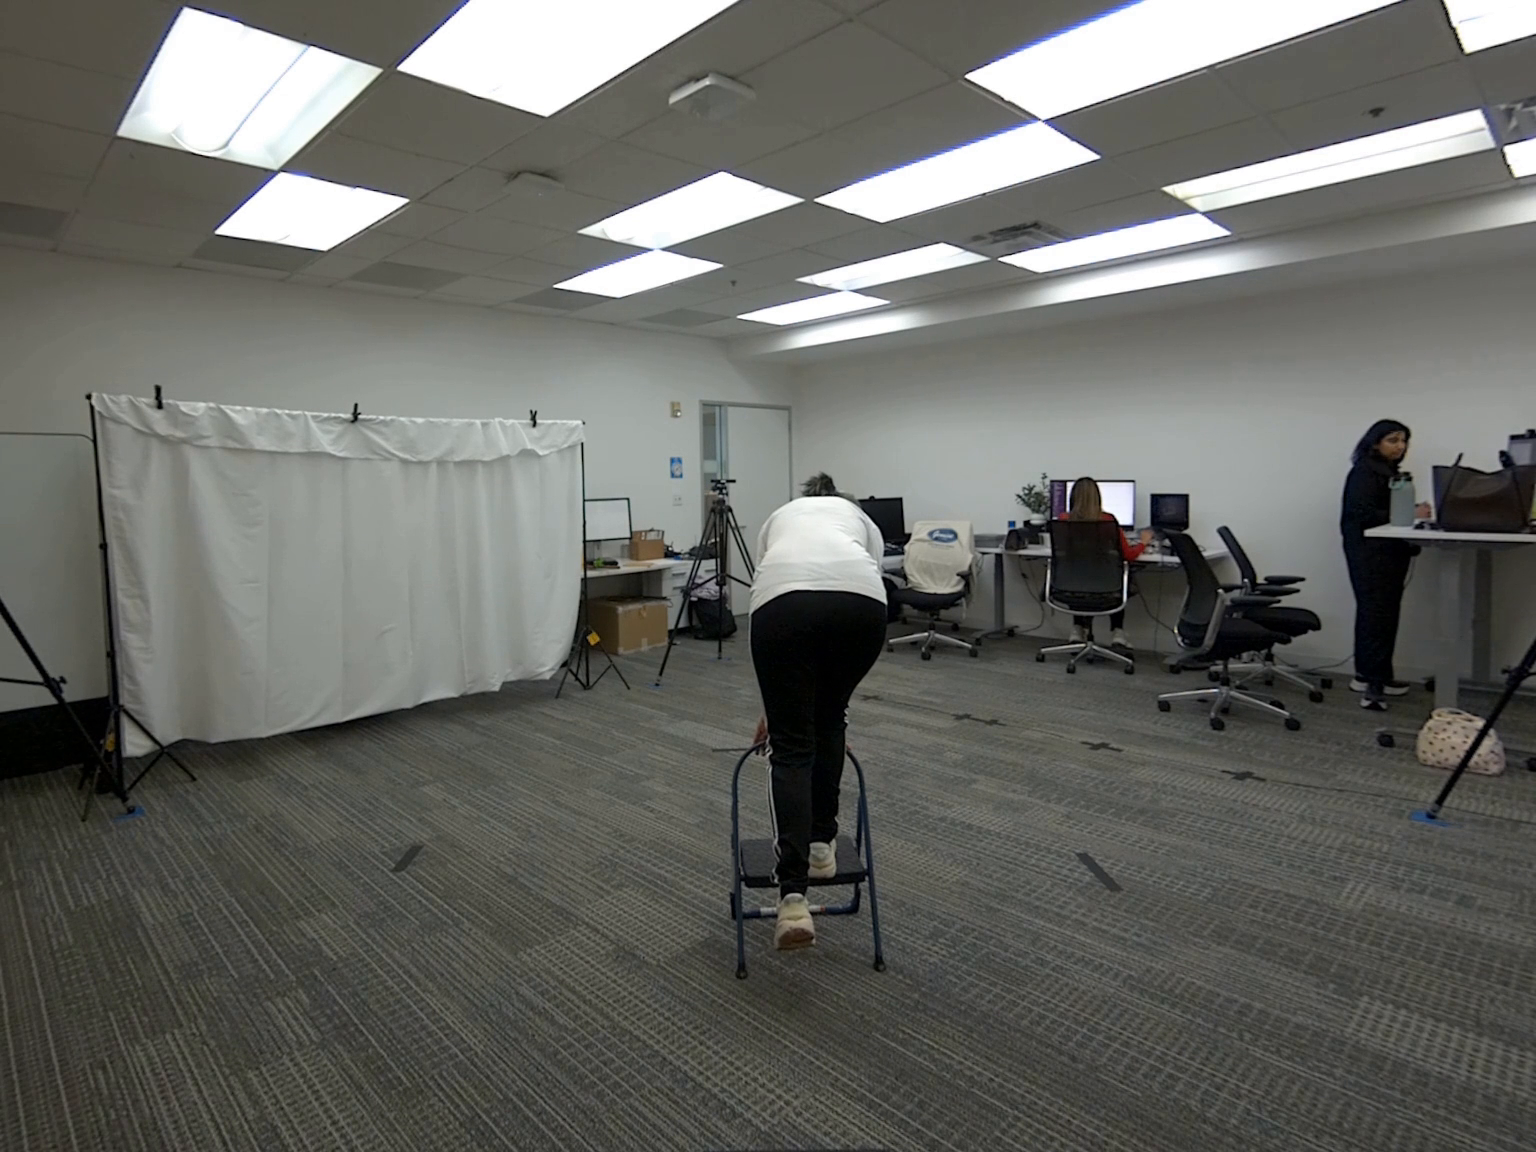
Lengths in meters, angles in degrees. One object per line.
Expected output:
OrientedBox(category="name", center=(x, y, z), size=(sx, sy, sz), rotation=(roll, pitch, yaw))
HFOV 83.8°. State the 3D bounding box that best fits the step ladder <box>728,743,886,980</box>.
OrientedBox(category="step ladder", center=(0.103, 0.811, 2.564), size=(0.429, 0.603, 0.352), rotation=(-2, 5, -5))
